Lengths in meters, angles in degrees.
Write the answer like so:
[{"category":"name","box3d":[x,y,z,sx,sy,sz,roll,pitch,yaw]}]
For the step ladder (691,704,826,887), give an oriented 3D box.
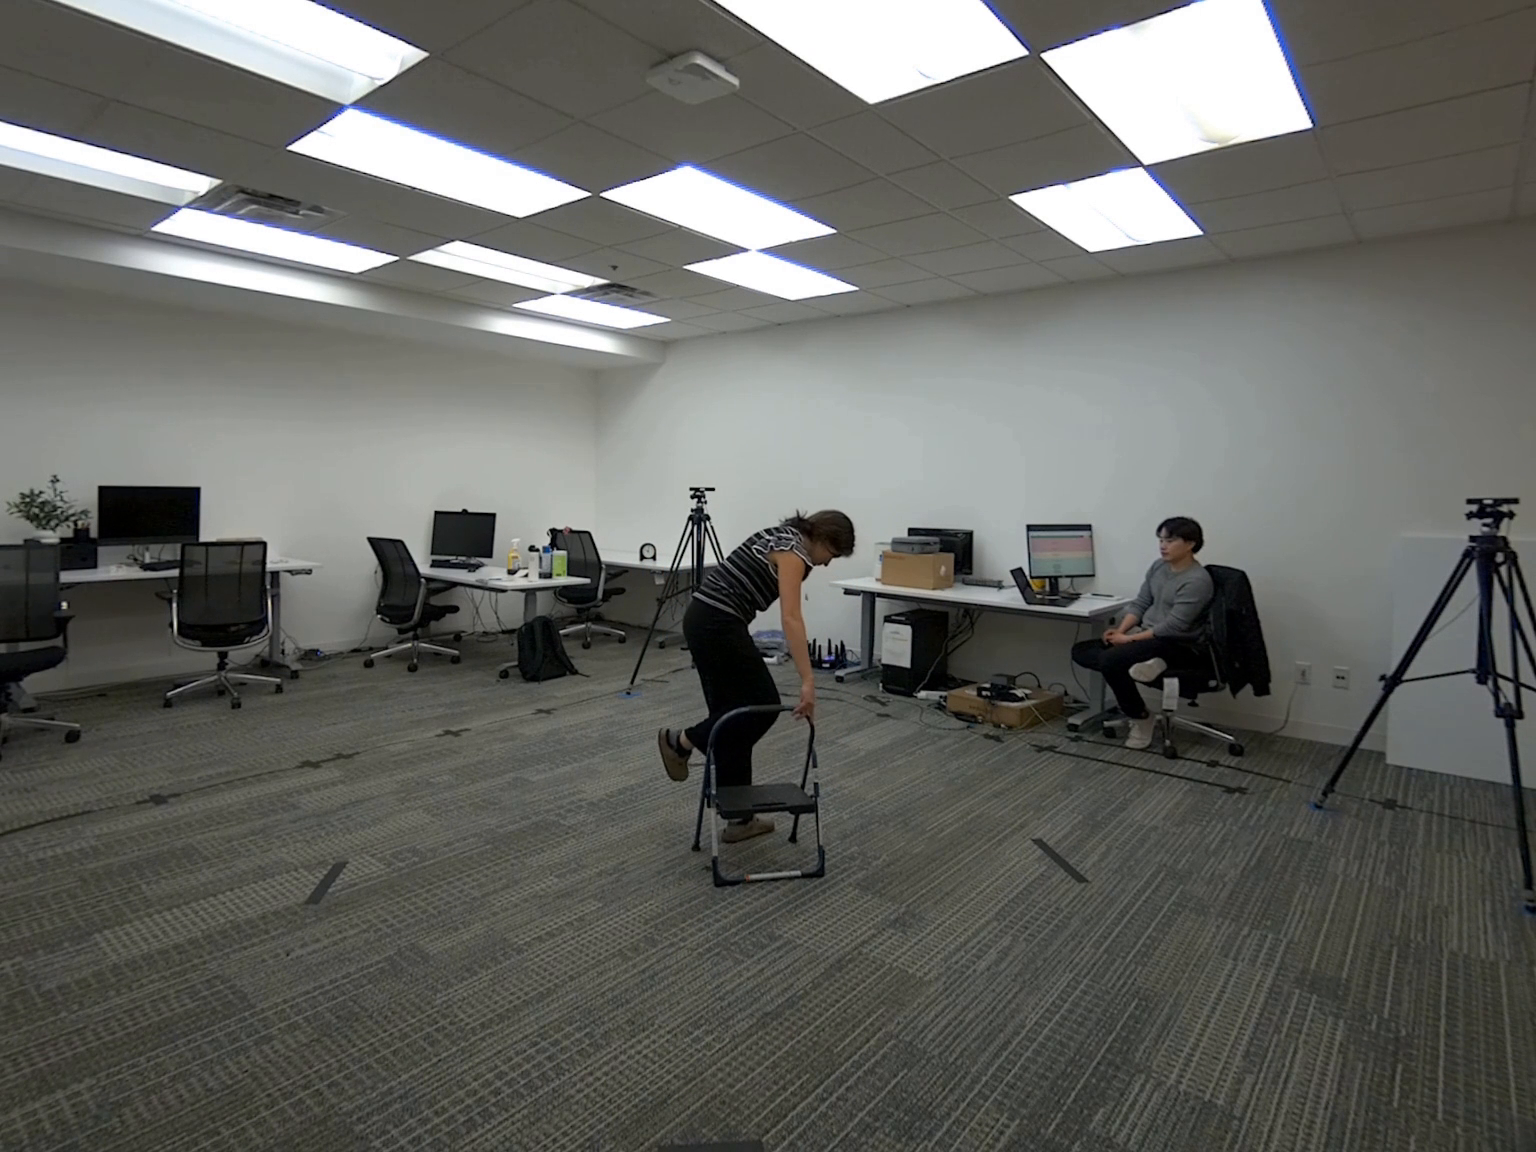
[{"category":"step ladder","box3d":[-0.045,0.762,3.163,0.424,0.605,0.356,0,3,-16]}]
